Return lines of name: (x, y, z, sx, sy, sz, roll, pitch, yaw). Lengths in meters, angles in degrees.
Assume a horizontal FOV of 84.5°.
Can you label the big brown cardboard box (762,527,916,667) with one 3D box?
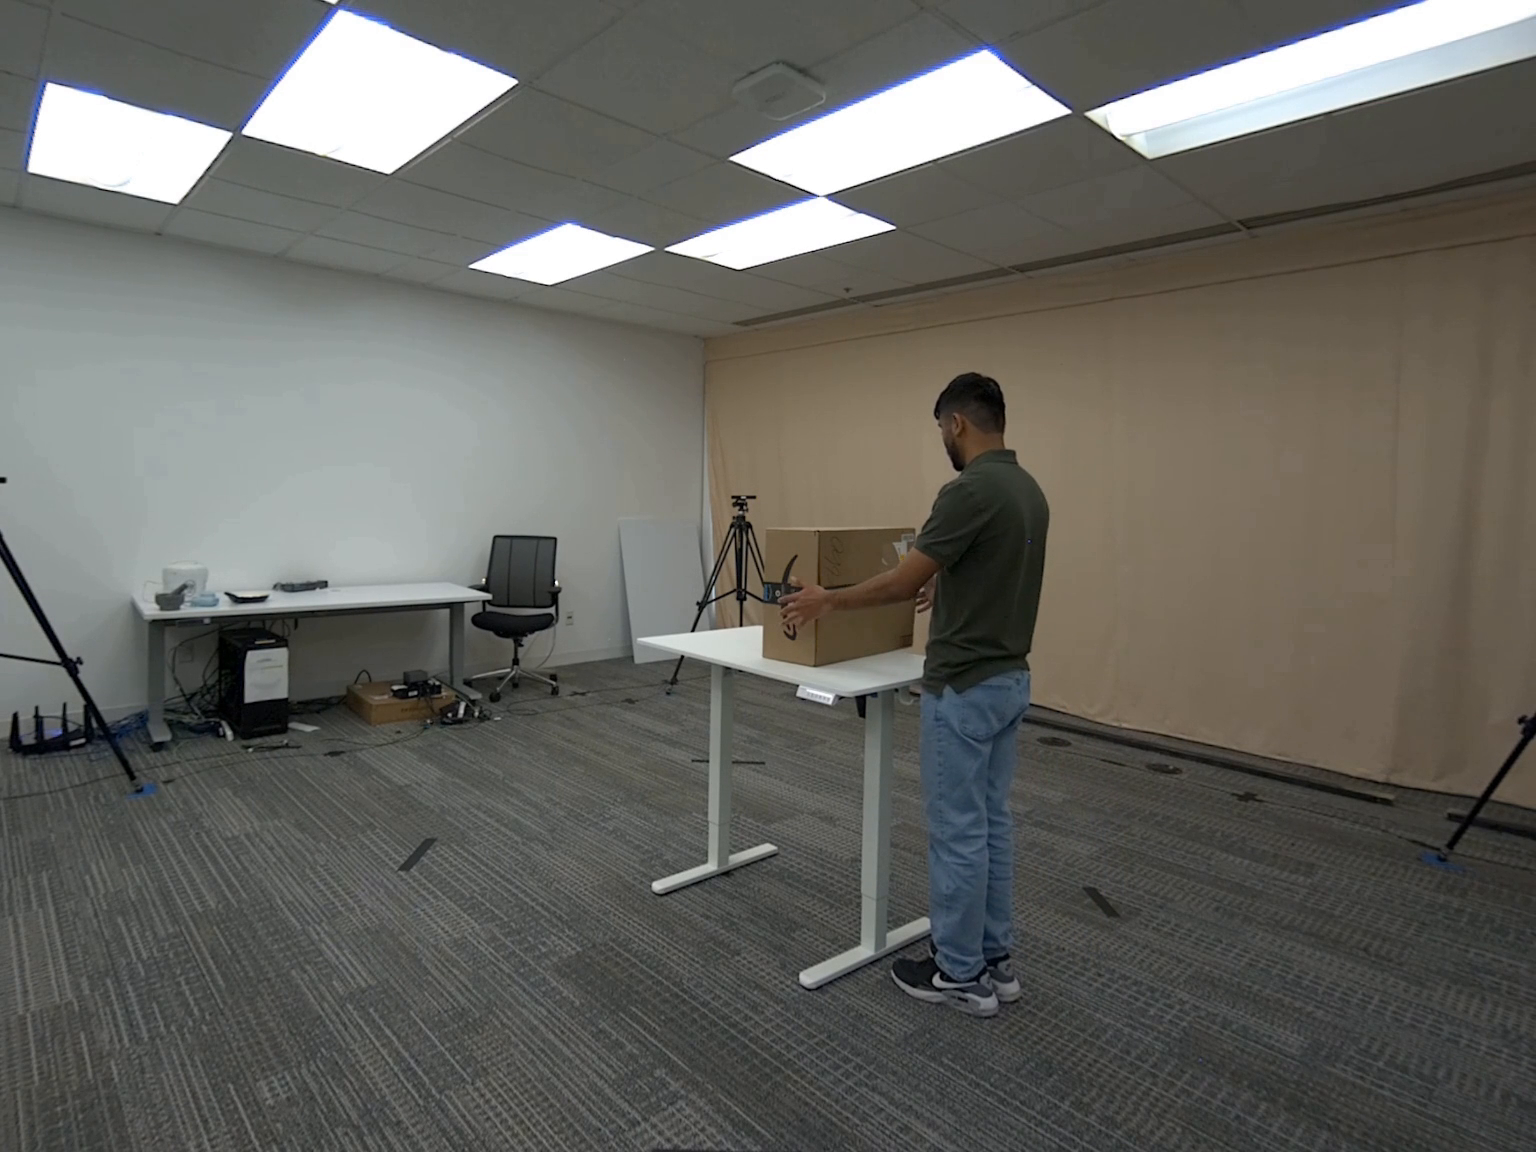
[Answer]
big brown cardboard box: (0.250, 0.052, 2.811, 0.239, 0.417, 0.576, 3, 4, 43)
